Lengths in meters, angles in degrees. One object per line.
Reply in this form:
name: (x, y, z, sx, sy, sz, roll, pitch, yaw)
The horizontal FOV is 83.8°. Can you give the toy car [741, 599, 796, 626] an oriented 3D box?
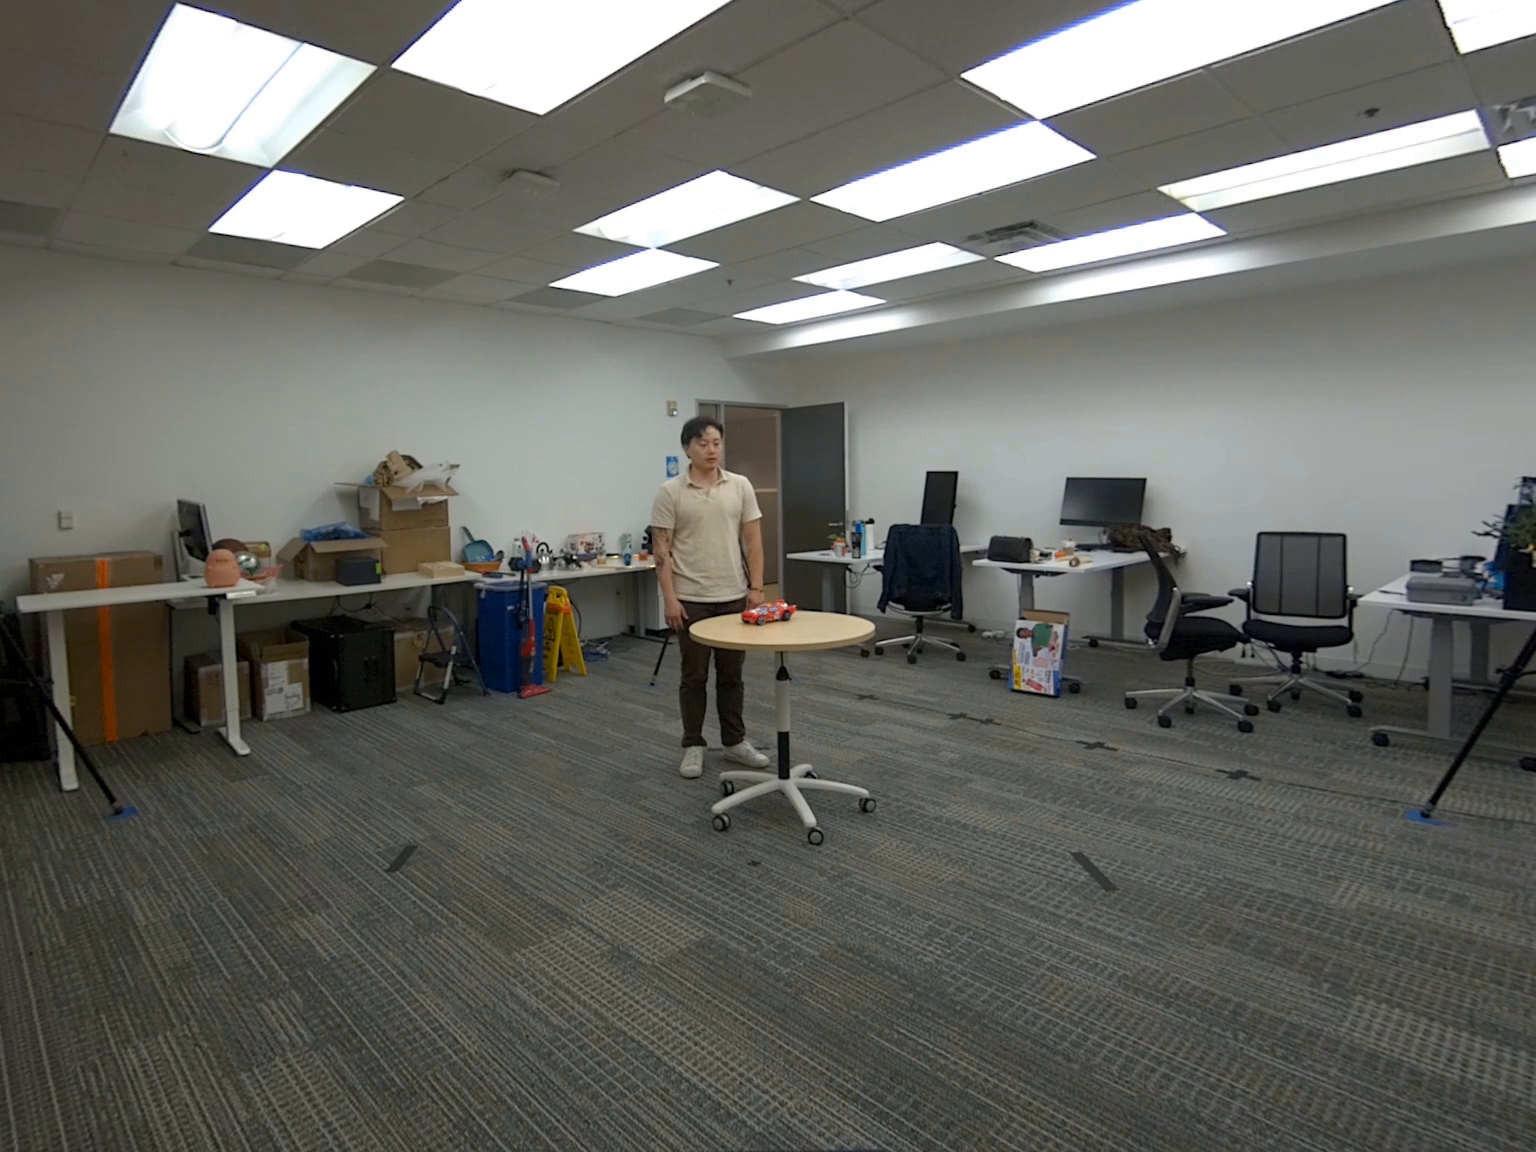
toy car: (0.013, 0.165, 3.674, 0.250, 0.082, 0.134, -21, 17, -36)
